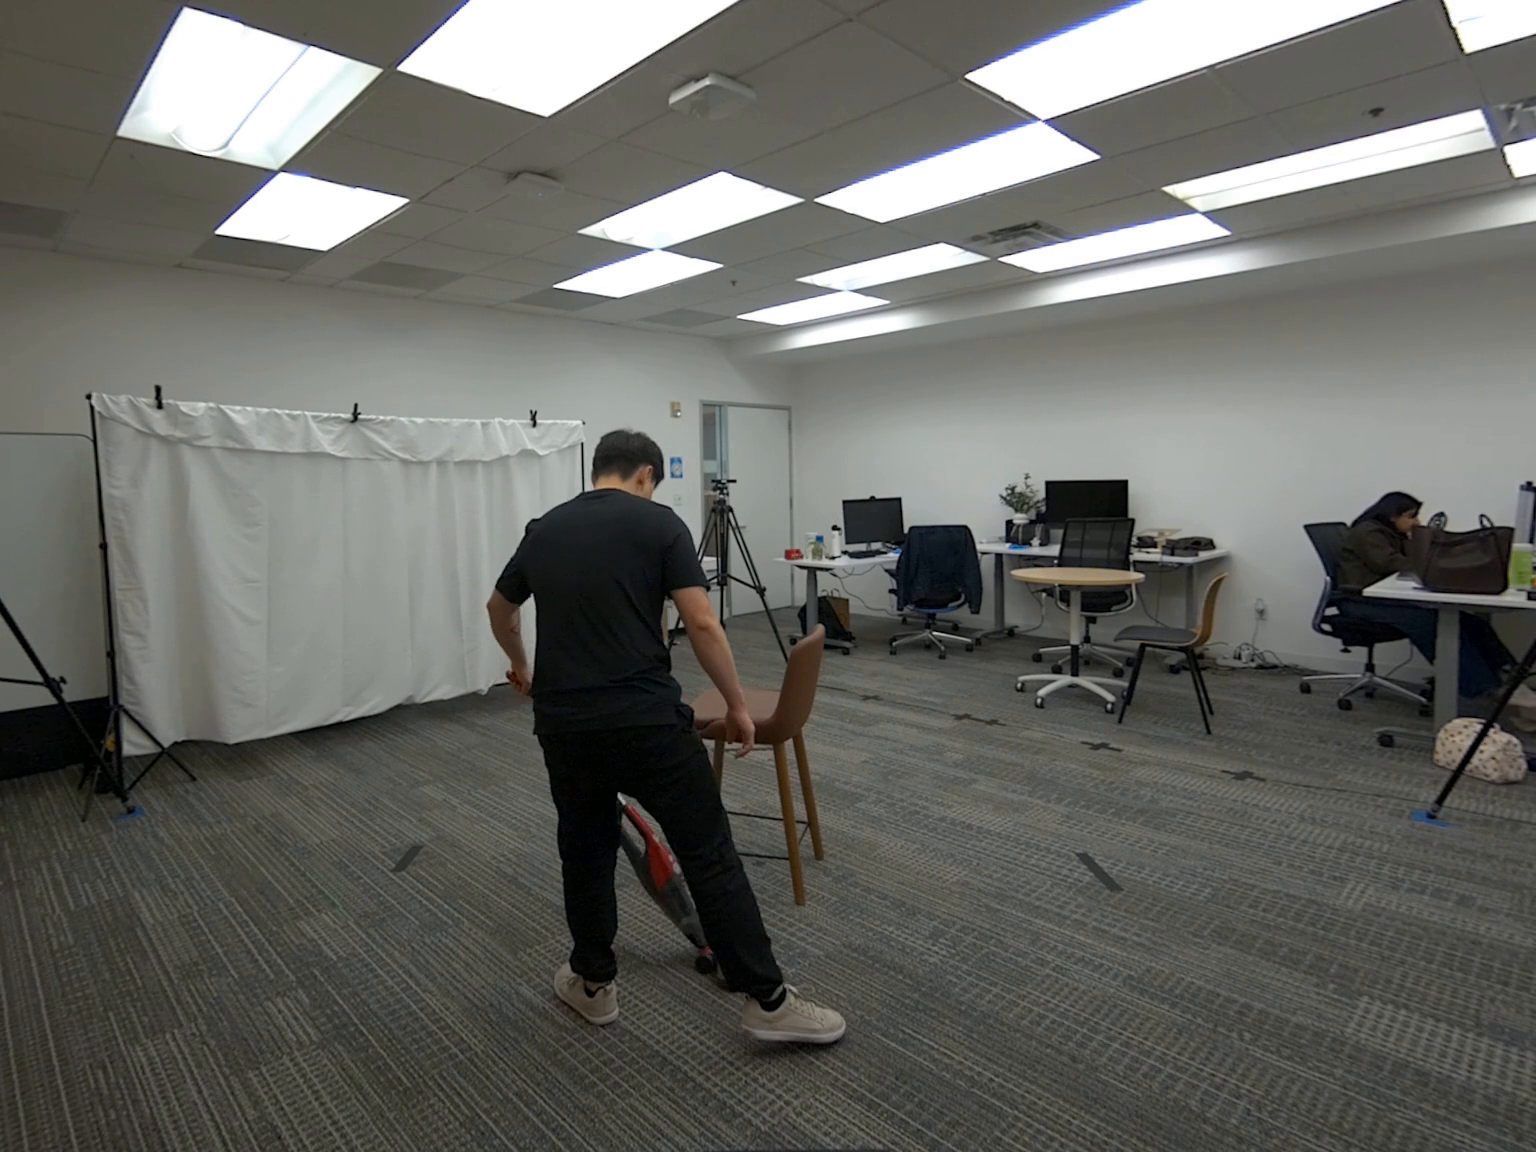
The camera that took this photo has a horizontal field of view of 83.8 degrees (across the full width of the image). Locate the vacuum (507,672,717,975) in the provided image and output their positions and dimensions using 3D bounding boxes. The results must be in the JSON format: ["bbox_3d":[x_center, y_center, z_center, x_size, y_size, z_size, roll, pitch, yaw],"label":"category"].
[{"bbox_3d":[-0.452,0.708,2.548,0.144,1.063,0.249,-45,-10,23],"label":"vacuum"}]
